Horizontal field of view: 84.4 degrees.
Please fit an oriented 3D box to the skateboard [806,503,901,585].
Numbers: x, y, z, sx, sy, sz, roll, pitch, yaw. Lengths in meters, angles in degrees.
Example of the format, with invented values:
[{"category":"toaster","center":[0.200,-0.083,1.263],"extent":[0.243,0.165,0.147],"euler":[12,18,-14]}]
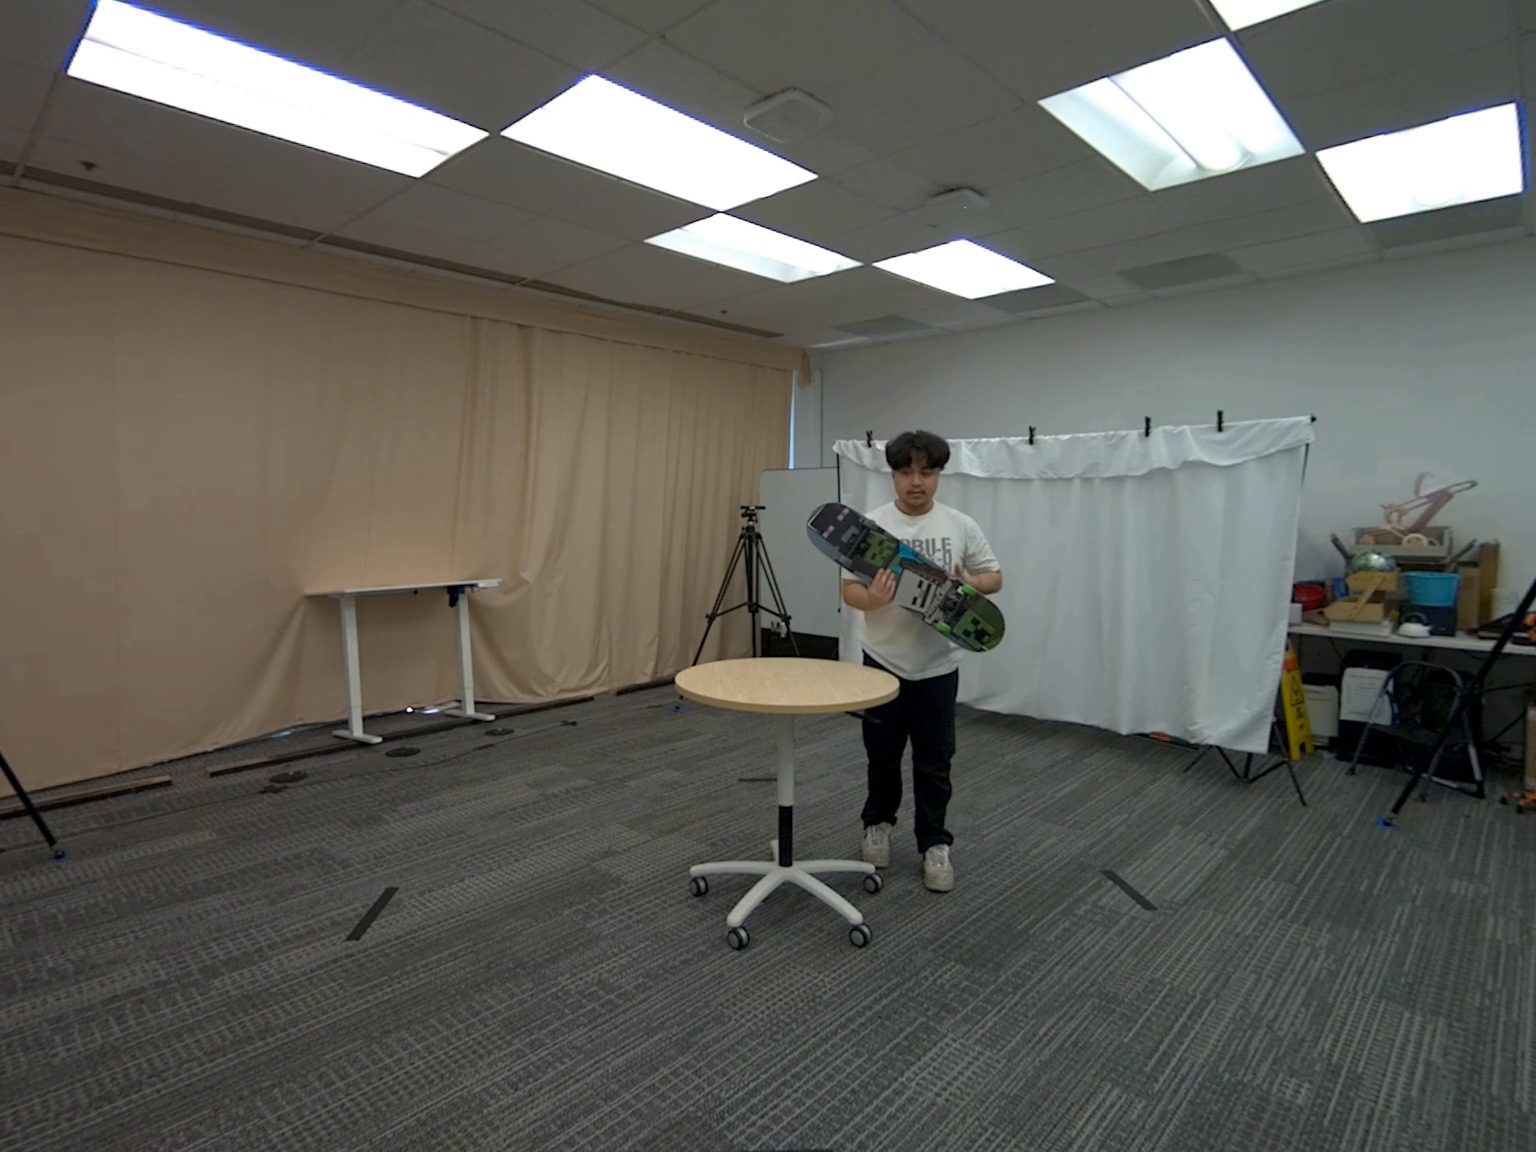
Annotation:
[{"category":"skateboard","center":[0.484,0.003,2.911],"extent":[0.791,0.193,0.109],"euler":[35,1,6]}]
